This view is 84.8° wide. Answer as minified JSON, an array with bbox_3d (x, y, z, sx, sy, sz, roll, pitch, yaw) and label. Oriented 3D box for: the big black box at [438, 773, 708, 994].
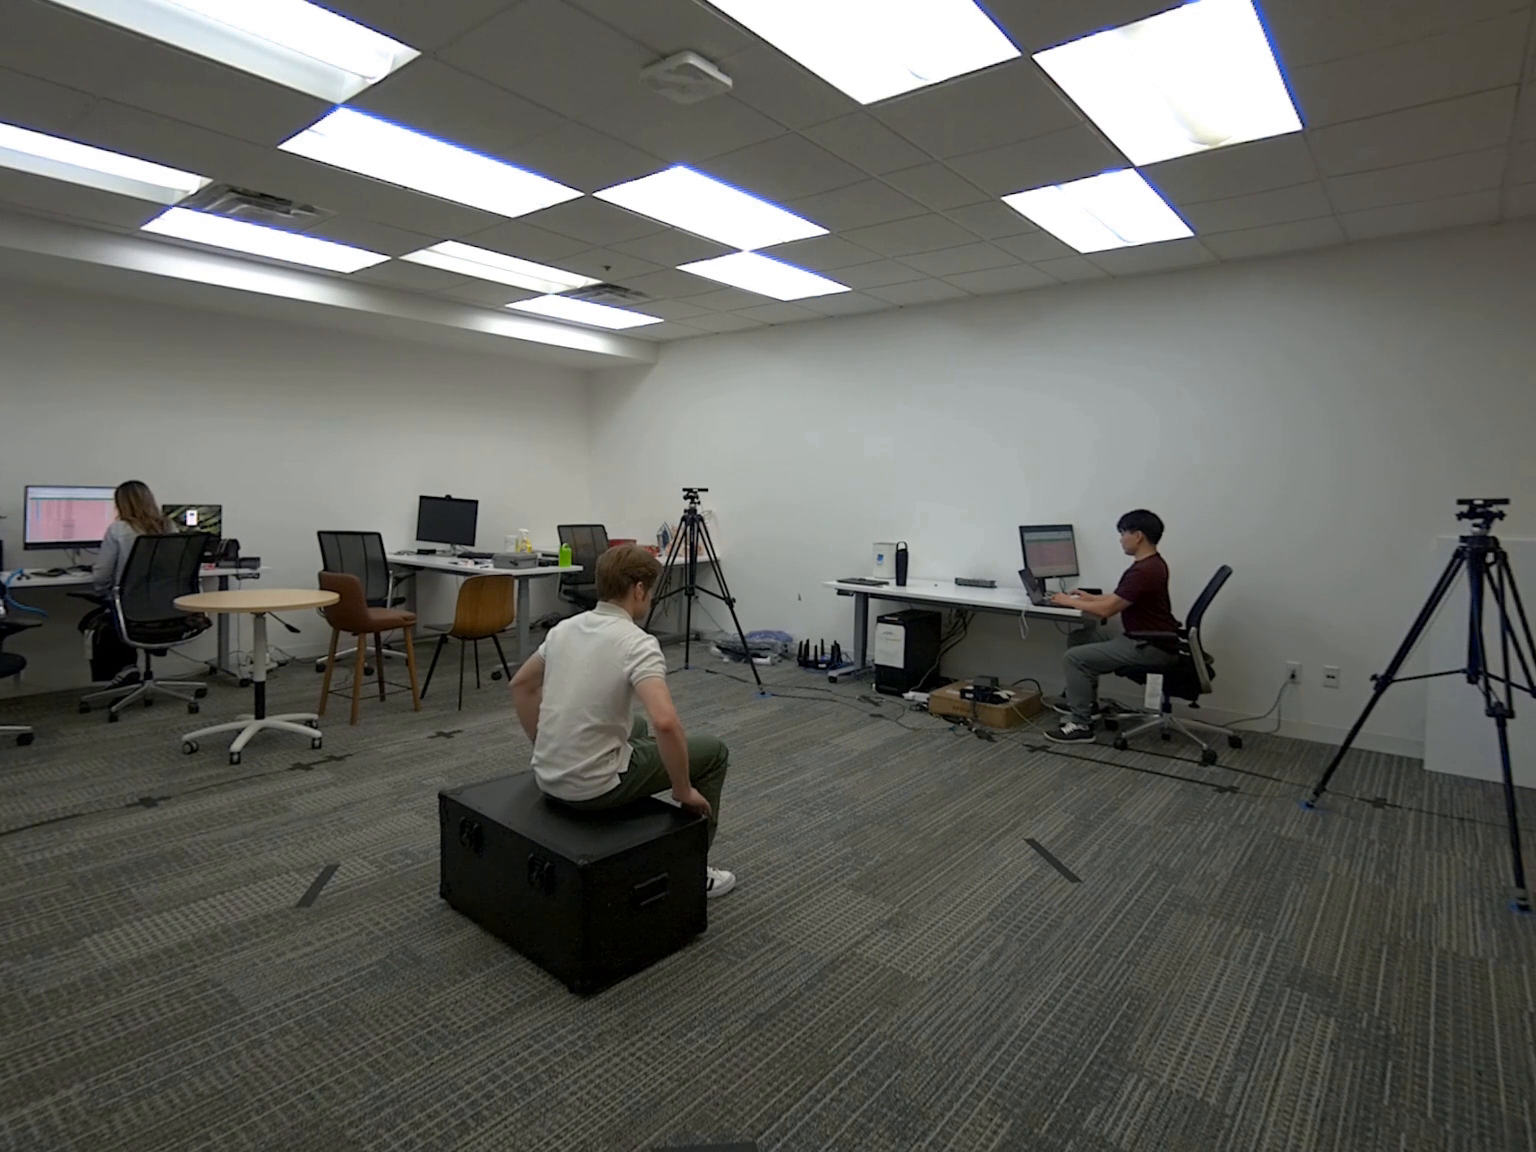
[{"bbox_3d":[-0.672,0.908,2.741,0.898,0.383,0.508,6,8,42],"label":"big black box"}]
